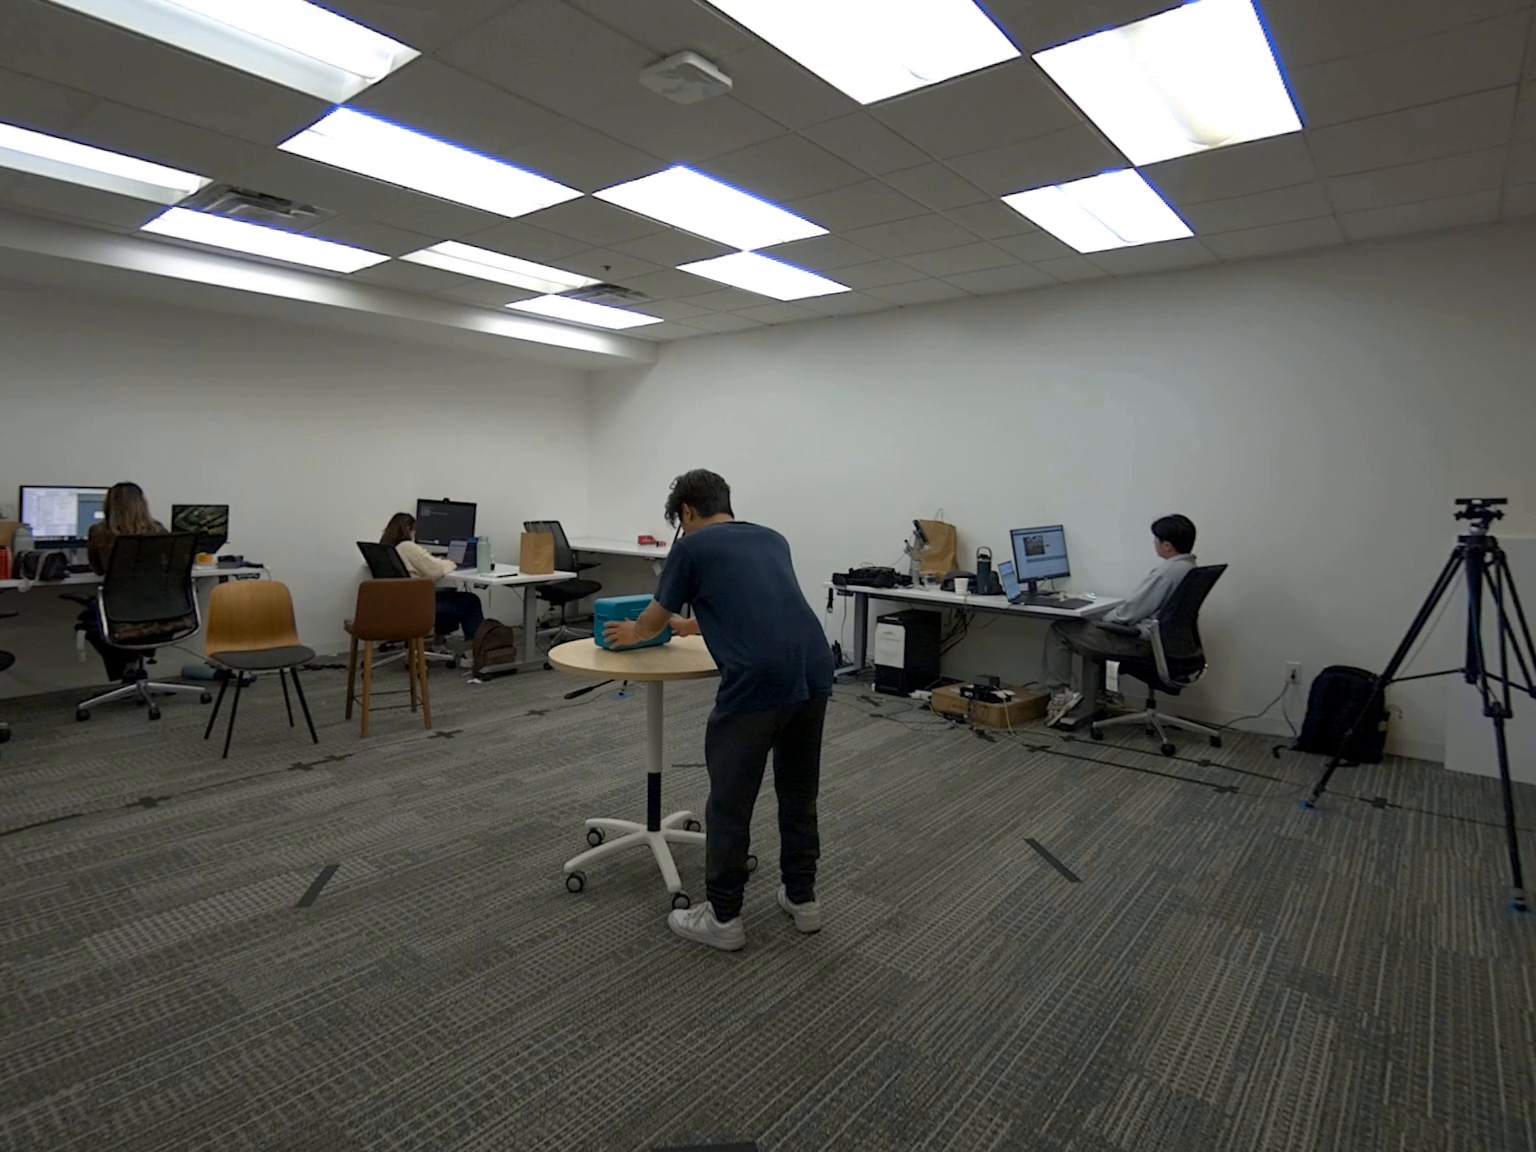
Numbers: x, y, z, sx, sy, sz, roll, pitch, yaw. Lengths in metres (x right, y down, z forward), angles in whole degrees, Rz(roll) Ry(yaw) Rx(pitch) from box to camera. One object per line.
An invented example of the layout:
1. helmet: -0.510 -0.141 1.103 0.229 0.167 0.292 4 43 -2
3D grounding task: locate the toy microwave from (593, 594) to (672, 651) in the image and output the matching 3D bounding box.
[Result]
1. toy microwave: -0.518 0.169 3.185 0.157 0.183 0.277 4 5 45
